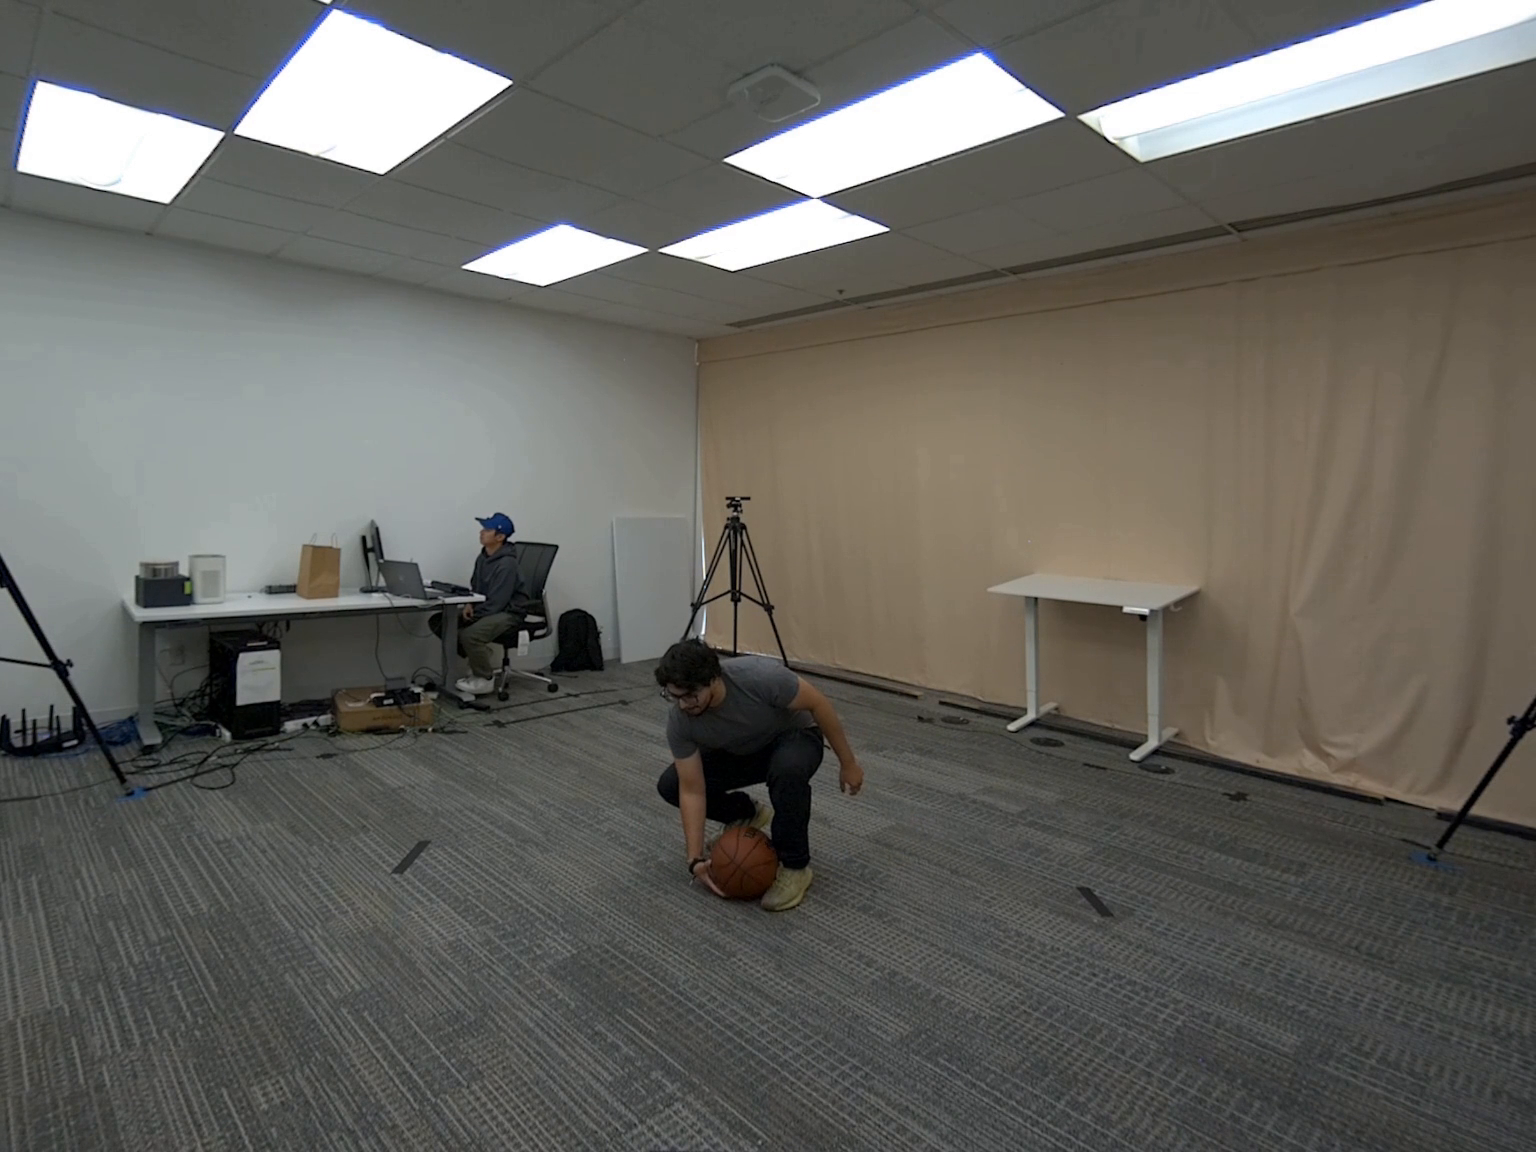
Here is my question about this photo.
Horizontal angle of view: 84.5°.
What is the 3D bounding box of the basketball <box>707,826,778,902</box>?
[{"bbox_3d":[-0.096,1.000,2.946,0.236,0.235,0.237,1,4,-1],"label":"basketball"}]
